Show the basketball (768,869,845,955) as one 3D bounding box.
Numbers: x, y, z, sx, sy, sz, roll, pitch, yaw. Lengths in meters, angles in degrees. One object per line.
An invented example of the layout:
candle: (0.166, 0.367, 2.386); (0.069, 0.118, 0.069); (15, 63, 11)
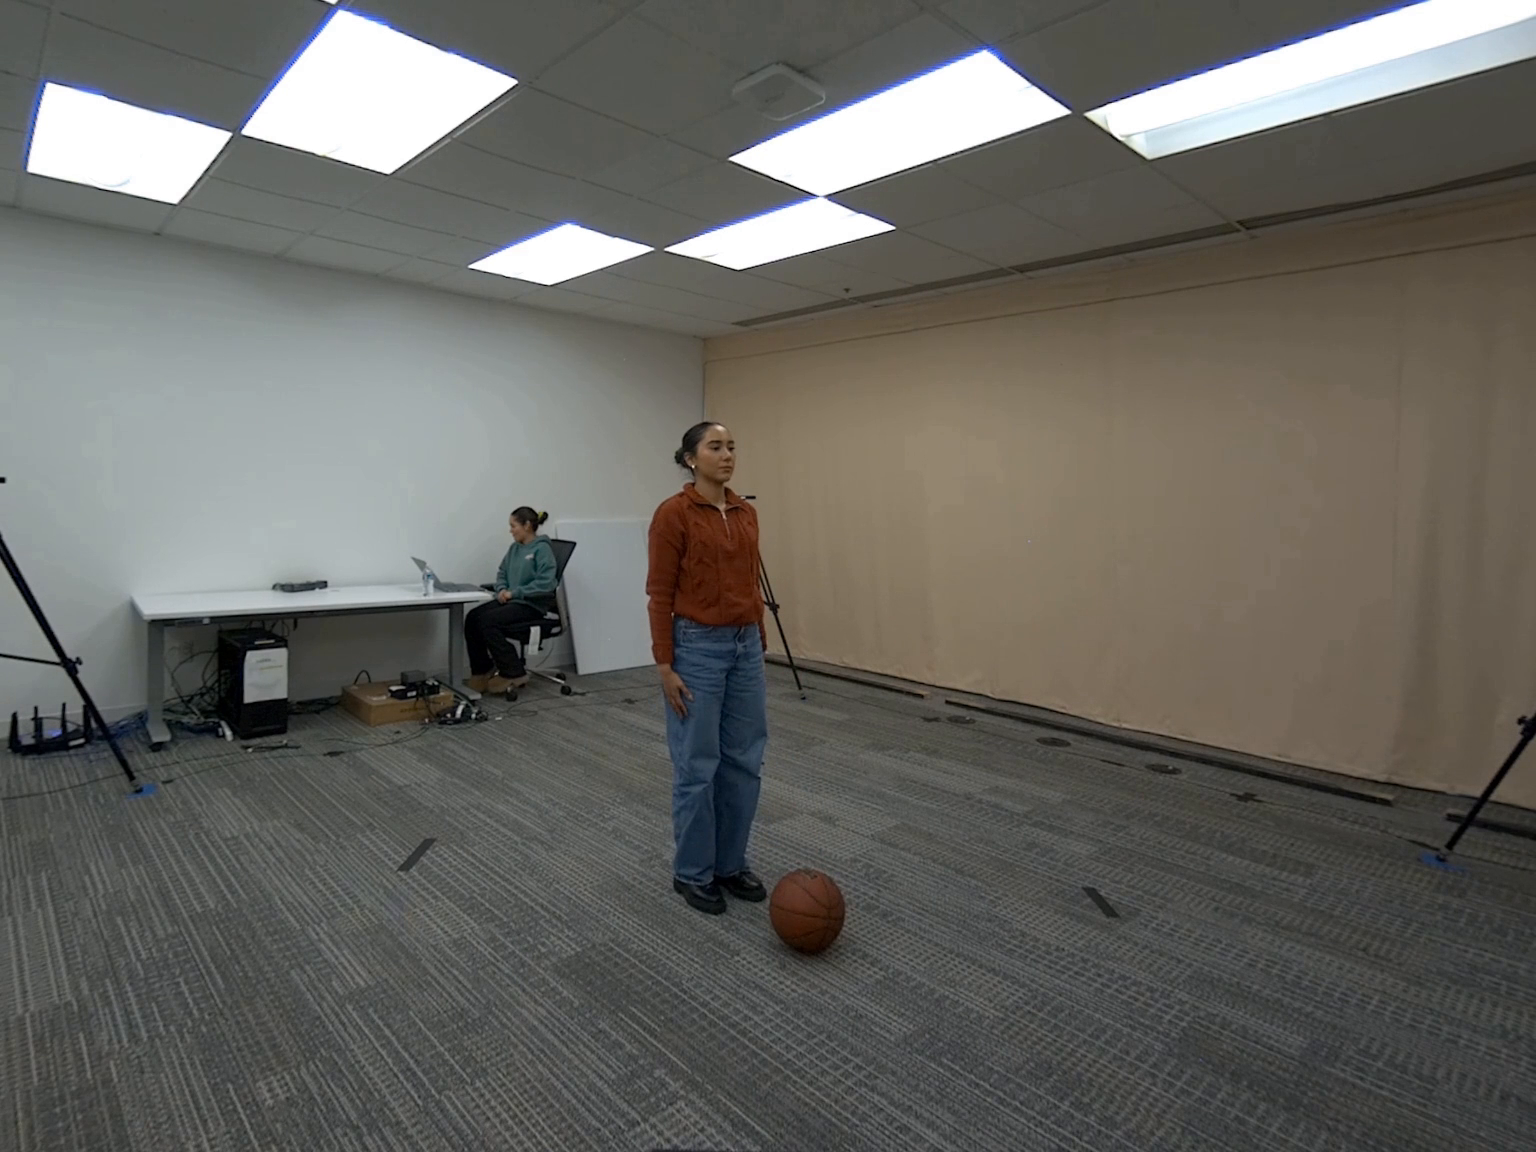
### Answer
basketball: (0.118, 1.037, 2.612); (0.236, 0.235, 0.237); (1, 4, -1)
